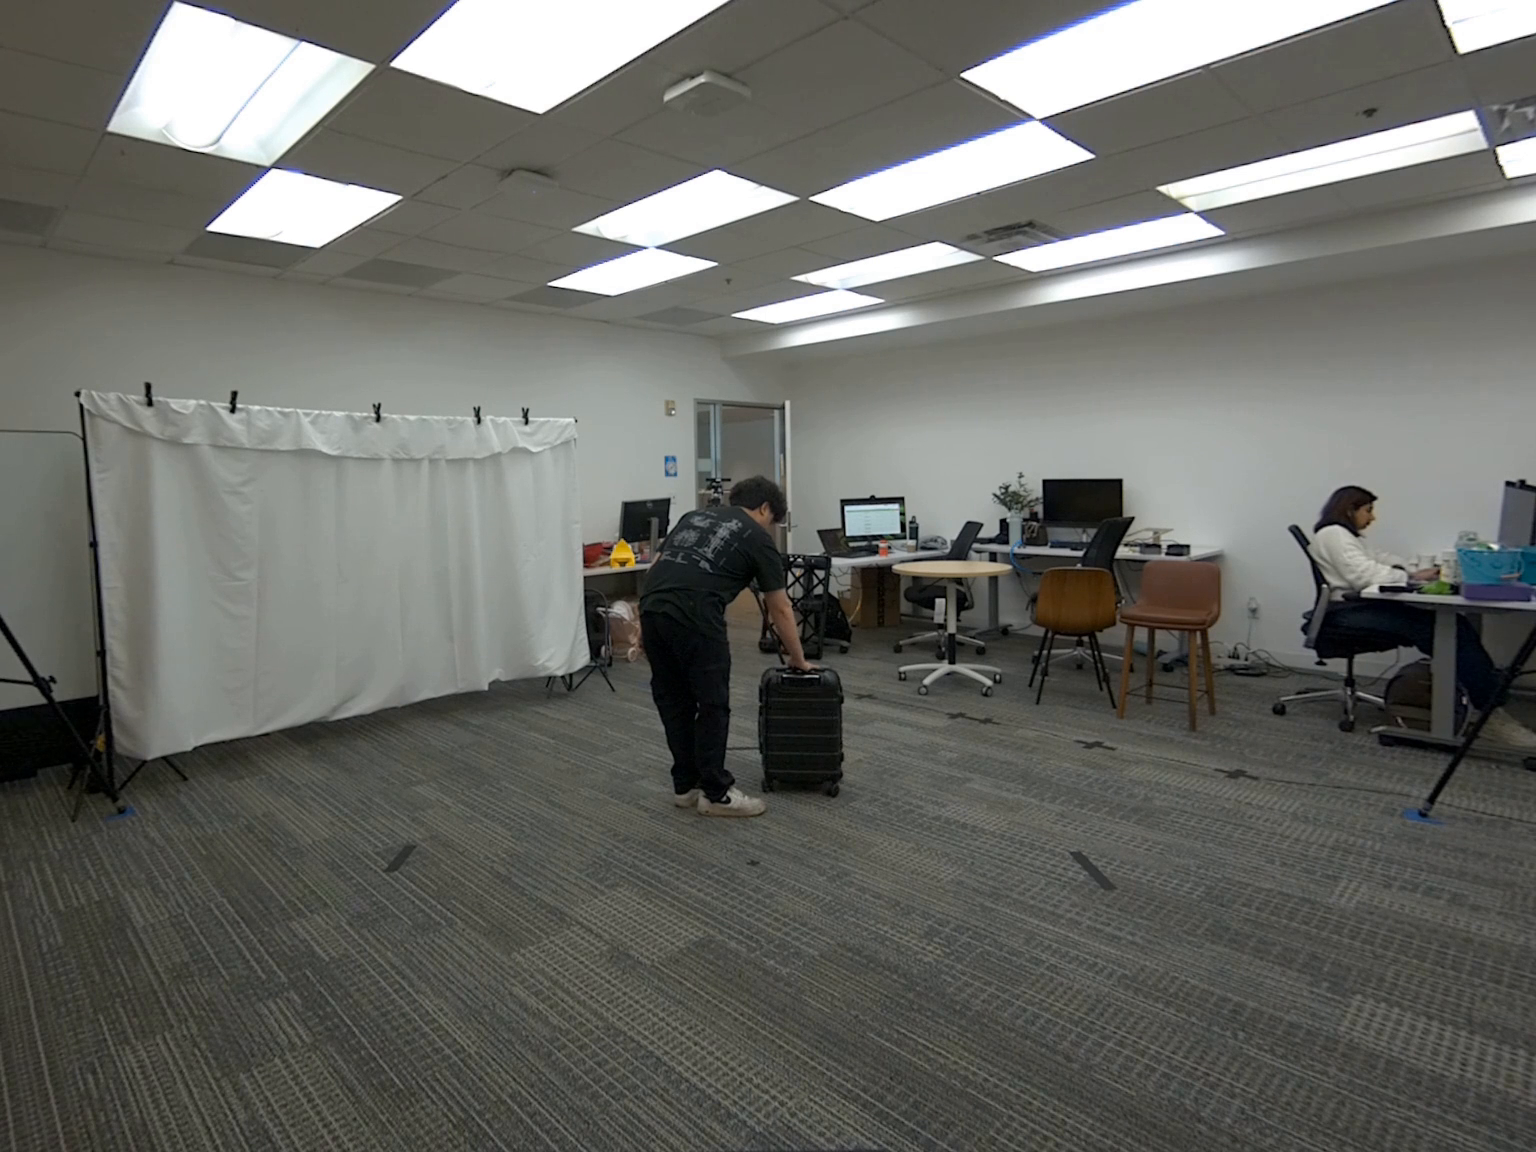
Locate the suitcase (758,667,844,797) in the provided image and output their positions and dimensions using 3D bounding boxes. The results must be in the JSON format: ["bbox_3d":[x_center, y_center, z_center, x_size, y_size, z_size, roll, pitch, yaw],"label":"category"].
[{"bbox_3d":[0.151,0.675,3.876,0.377,0.547,0.248,-1,4,4],"label":"suitcase"}]
